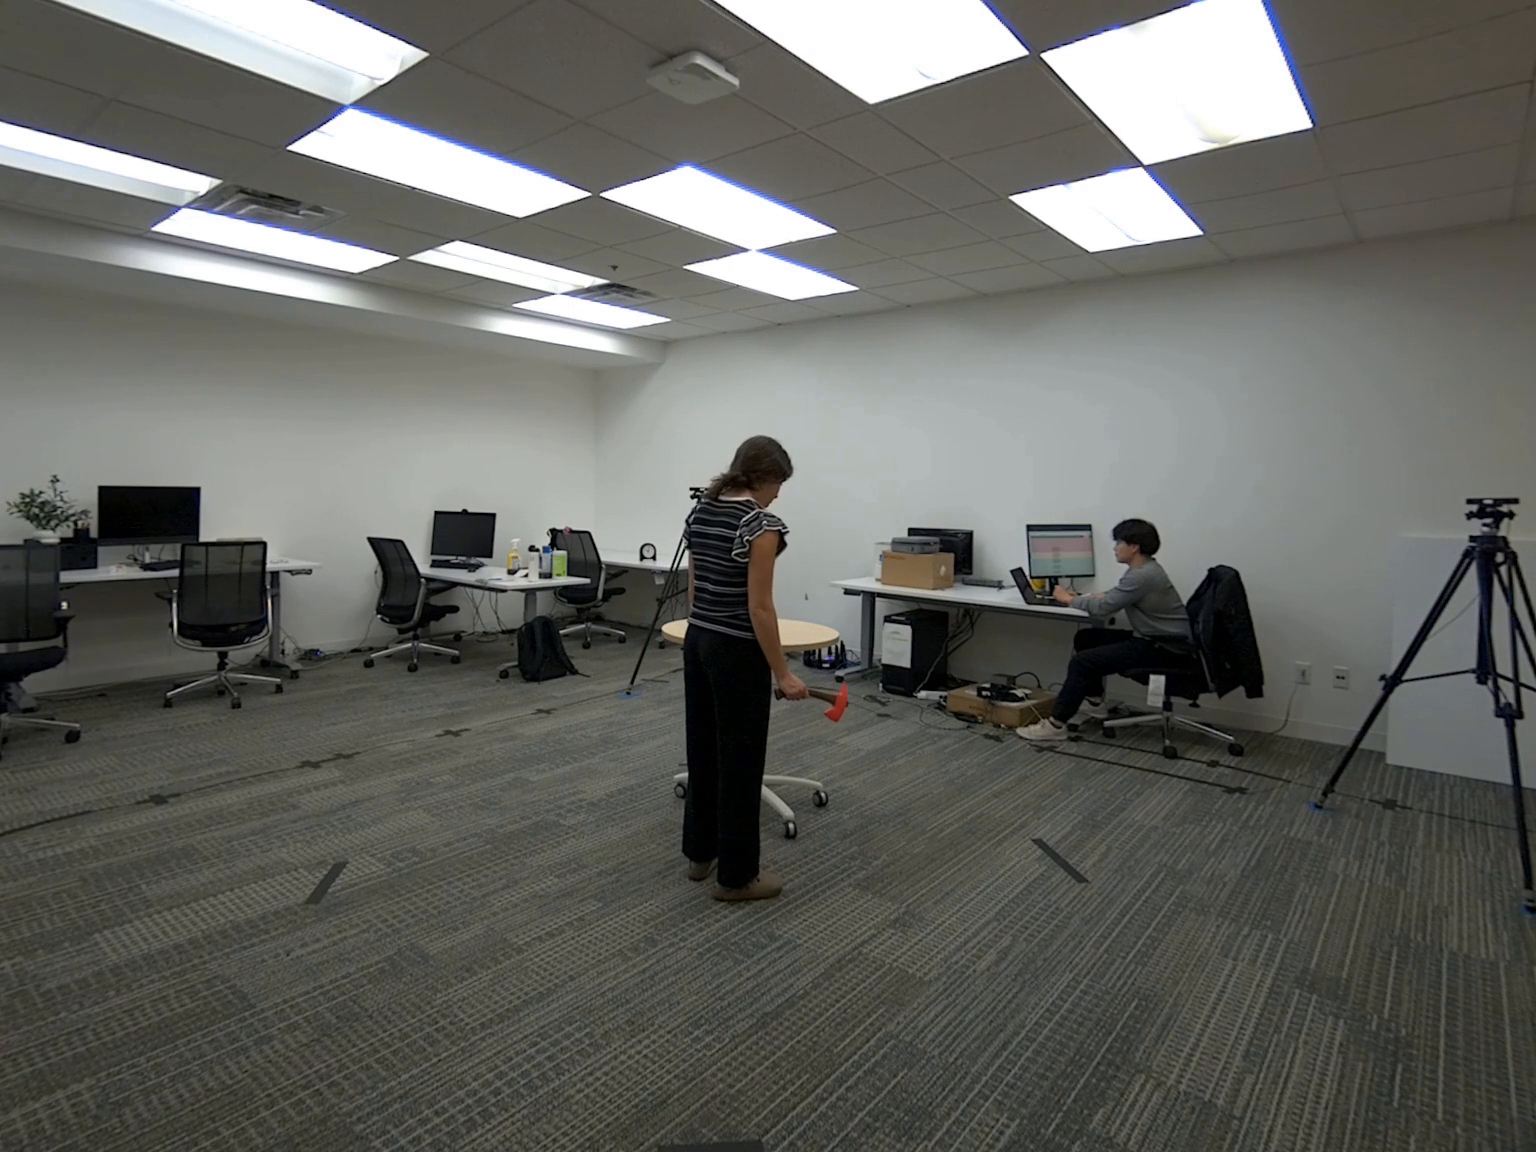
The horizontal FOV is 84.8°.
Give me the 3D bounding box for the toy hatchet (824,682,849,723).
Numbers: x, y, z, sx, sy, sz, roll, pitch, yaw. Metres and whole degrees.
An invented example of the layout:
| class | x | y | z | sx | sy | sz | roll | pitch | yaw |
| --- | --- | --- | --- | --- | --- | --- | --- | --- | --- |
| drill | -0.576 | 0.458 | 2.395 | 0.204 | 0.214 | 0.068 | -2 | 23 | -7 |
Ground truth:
| class | x | y | z | sx | sy | sz | roll | pitch | yaw |
| --- | --- | --- | --- | --- | --- | --- | --- | --- | --- |
| toy hatchet | 0.141 | 0.432 | 2.836 | 0.267 | 0.133 | 0.029 | -7 | -17 | -12 |
